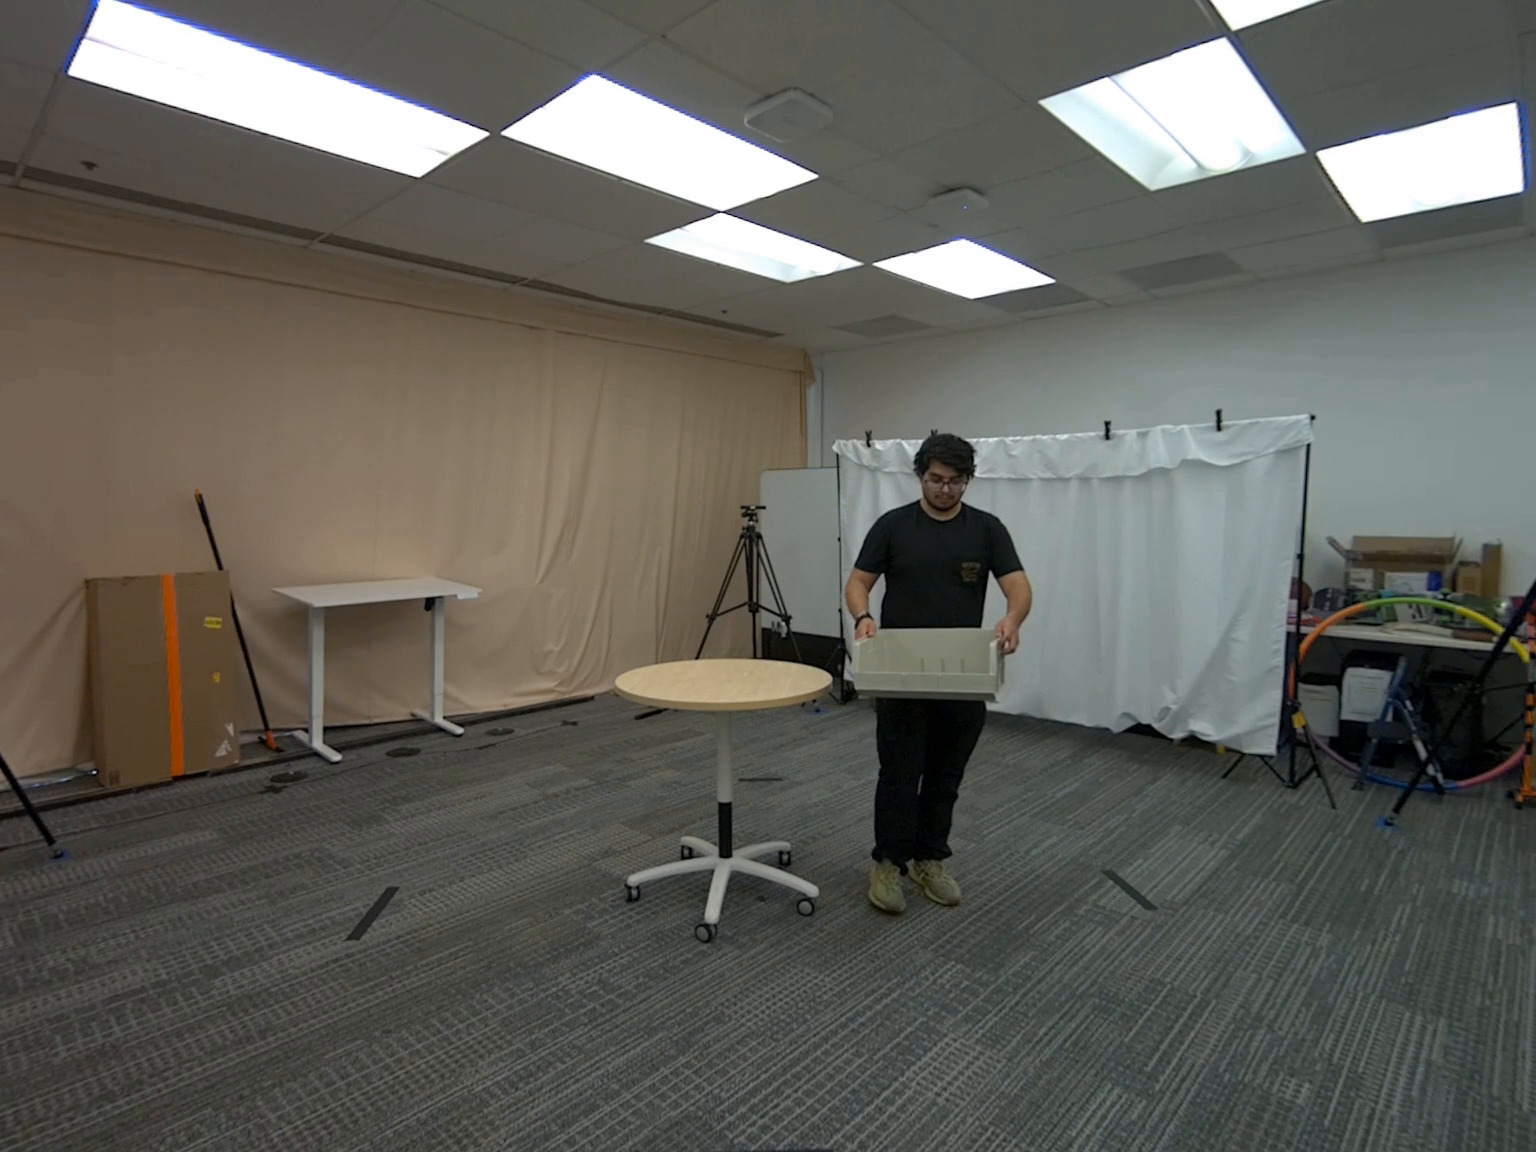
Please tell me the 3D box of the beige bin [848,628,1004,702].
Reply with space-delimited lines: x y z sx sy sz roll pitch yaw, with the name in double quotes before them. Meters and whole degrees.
"beige bin" 0.511 0.276 2.623 0.432 0.189 0.369 -2 2 23
